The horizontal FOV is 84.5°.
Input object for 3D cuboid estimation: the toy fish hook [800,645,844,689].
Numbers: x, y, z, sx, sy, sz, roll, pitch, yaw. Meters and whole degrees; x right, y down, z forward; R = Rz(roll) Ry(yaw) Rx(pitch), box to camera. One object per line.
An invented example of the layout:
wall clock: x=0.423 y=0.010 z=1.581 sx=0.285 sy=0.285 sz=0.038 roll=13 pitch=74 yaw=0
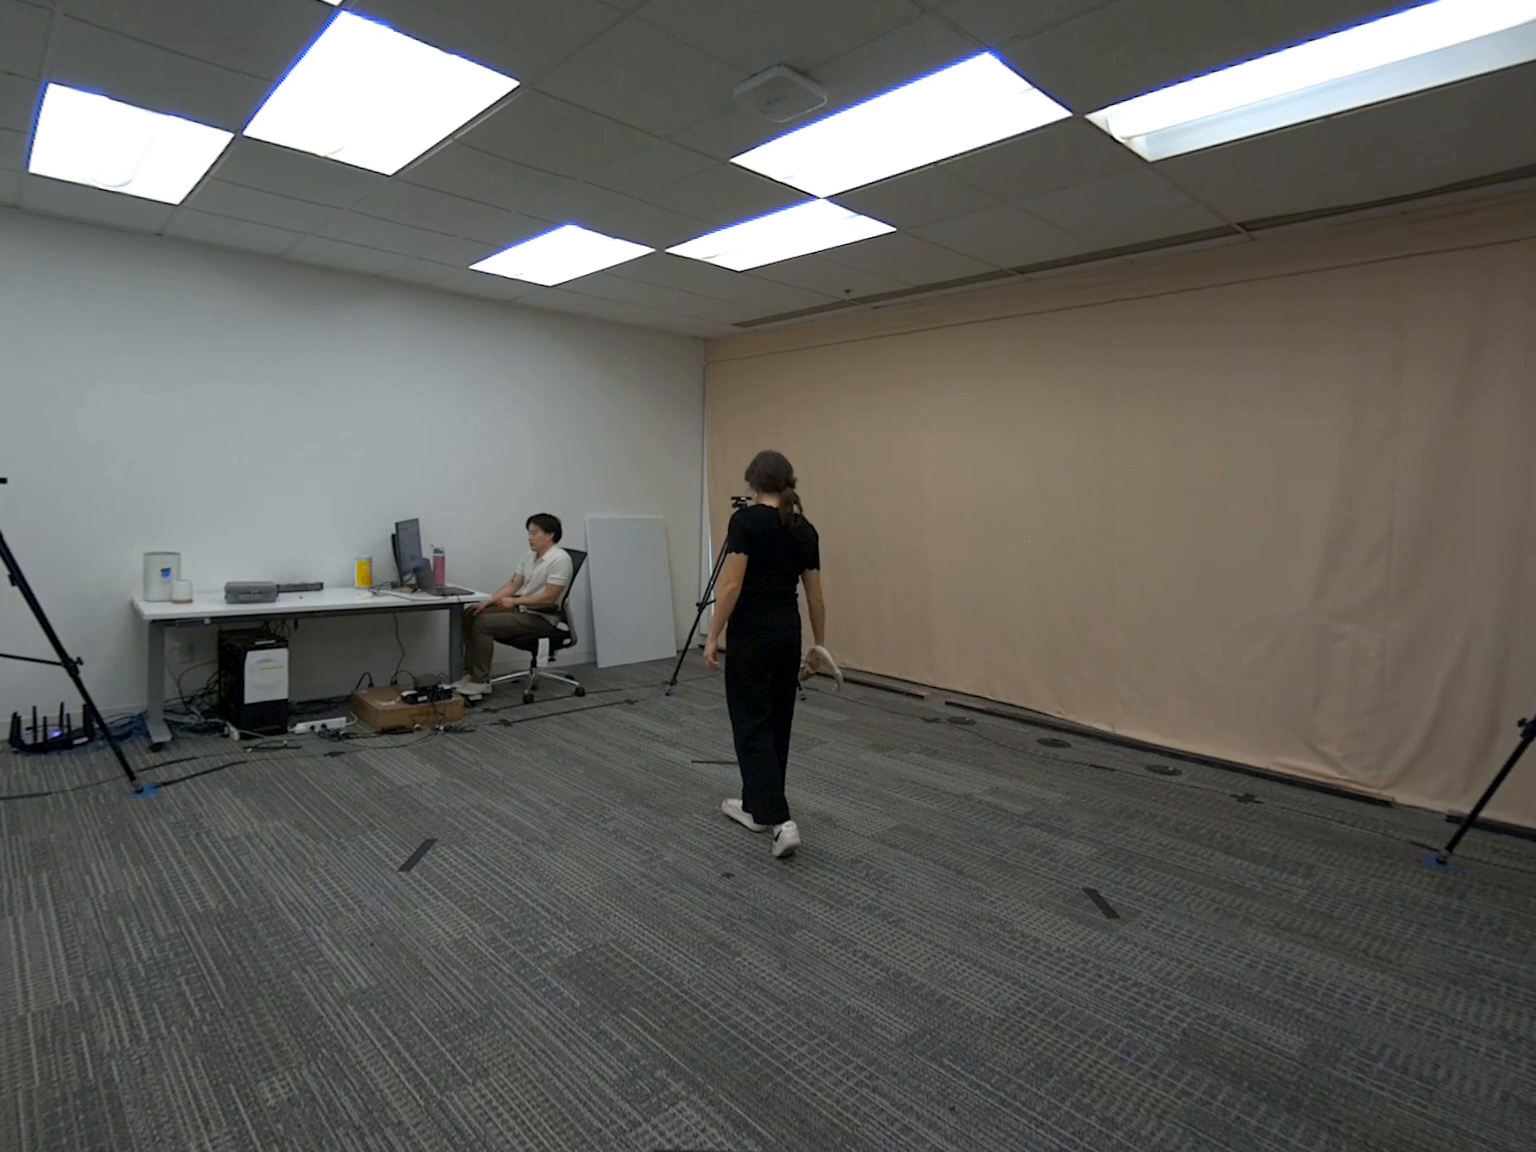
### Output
toy fish hook: x=0.213 y=0.430 z=3.690 sx=0.048 sy=0.228 sz=0.503 roll=-21 pitch=-14 yaw=-17
